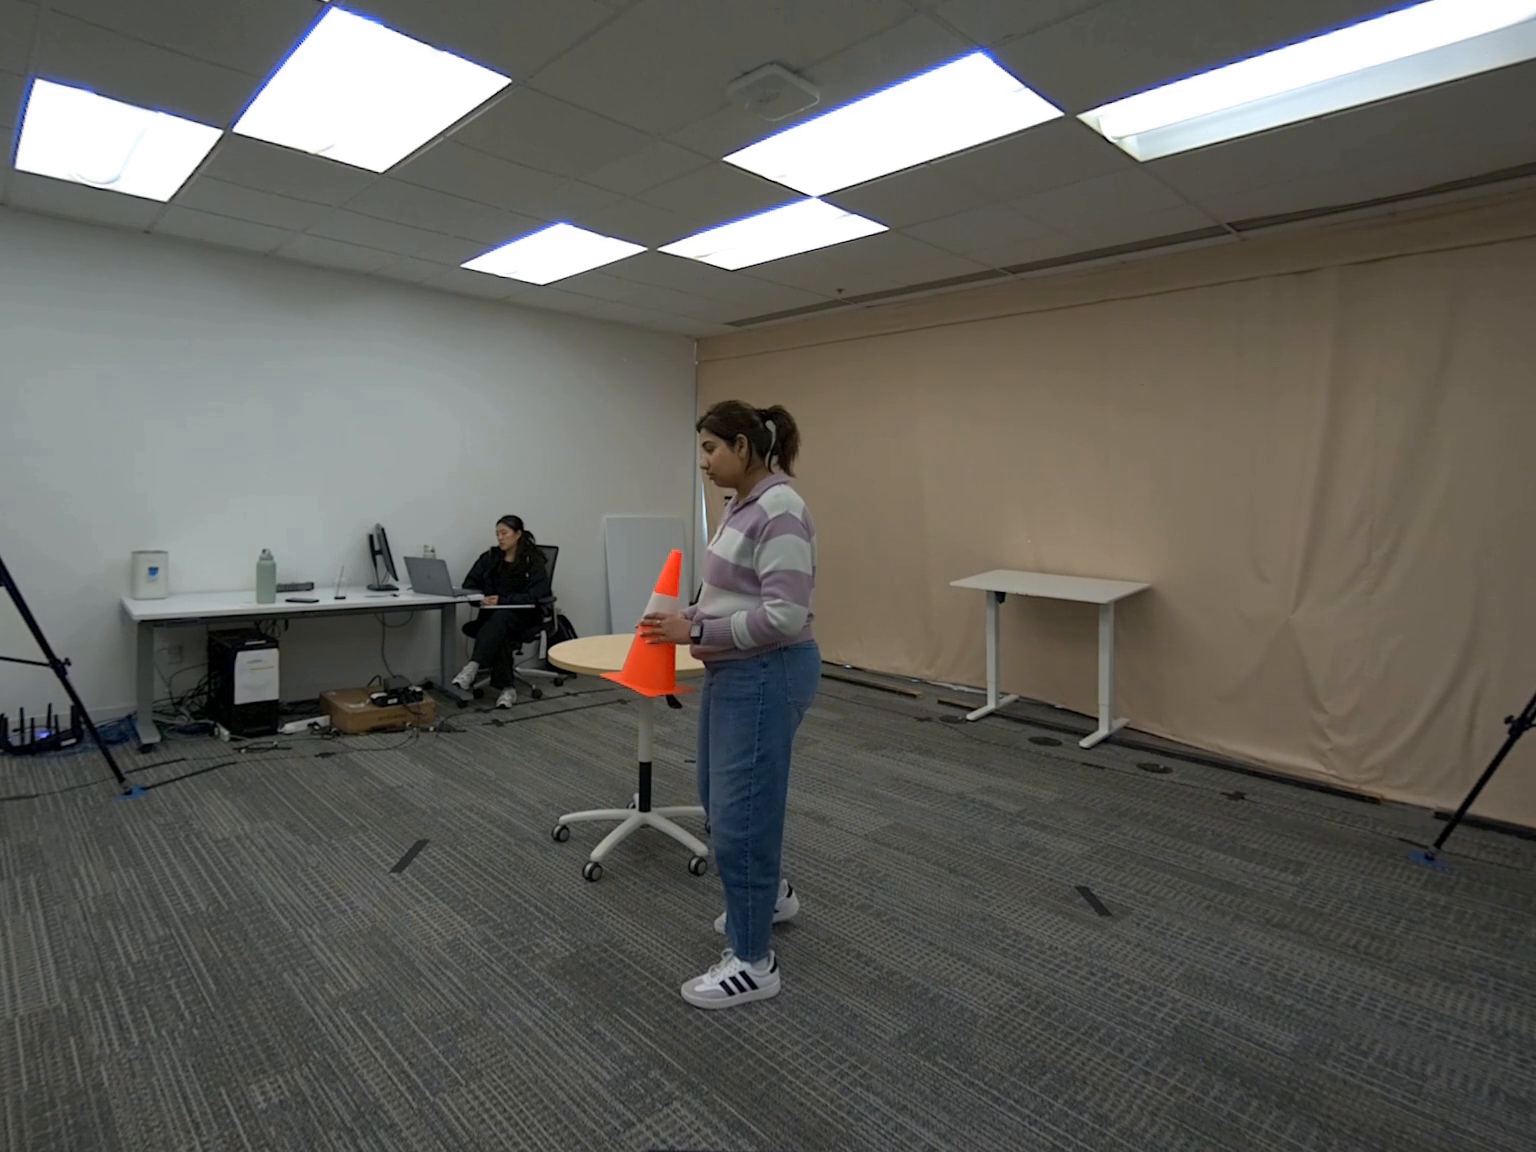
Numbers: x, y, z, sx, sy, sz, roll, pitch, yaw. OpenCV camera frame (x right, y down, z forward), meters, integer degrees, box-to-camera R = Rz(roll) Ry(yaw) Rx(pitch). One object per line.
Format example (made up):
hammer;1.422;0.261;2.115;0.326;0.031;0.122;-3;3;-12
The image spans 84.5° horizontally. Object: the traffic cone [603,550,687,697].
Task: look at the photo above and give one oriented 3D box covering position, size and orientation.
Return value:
traffic cone;-0.293;0.121;2.349;0.208;0.383;0.200;14;2;26
